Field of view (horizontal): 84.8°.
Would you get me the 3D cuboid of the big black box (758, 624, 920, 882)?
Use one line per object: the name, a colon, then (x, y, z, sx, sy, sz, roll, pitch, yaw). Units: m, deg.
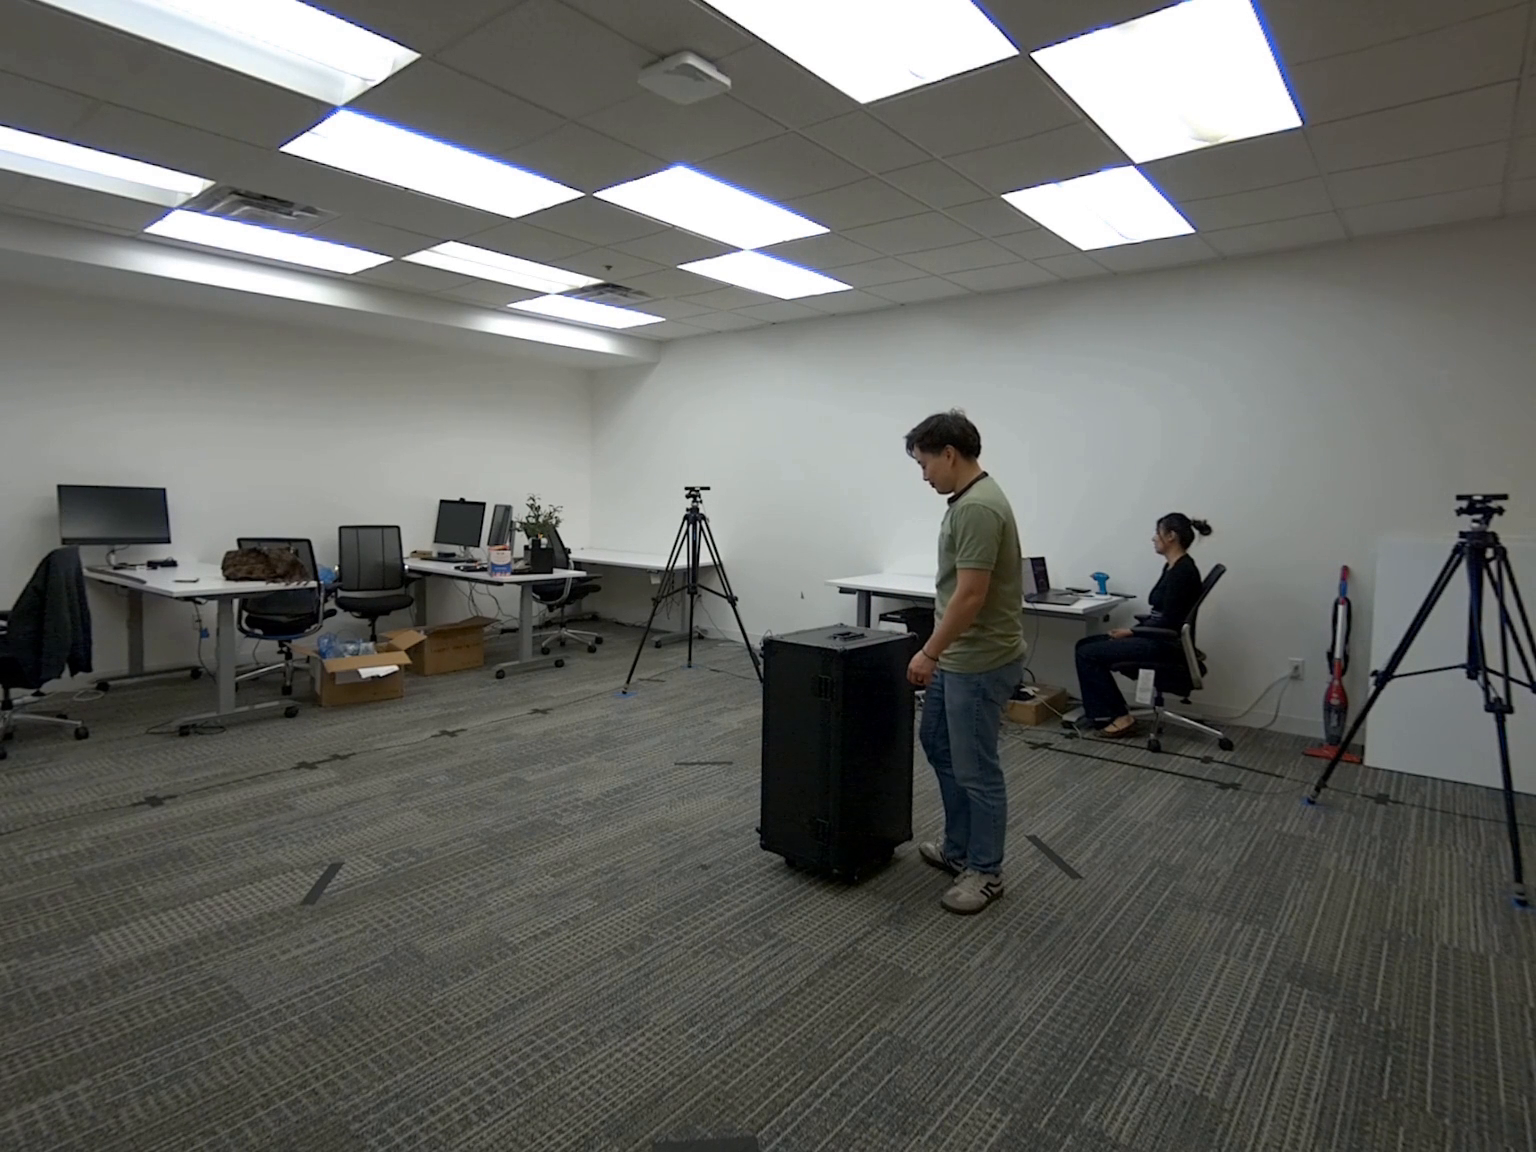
big black box: (0.245, 0.641, 3.166, 0.409, 0.859, 0.506, 2, 3, 41)
